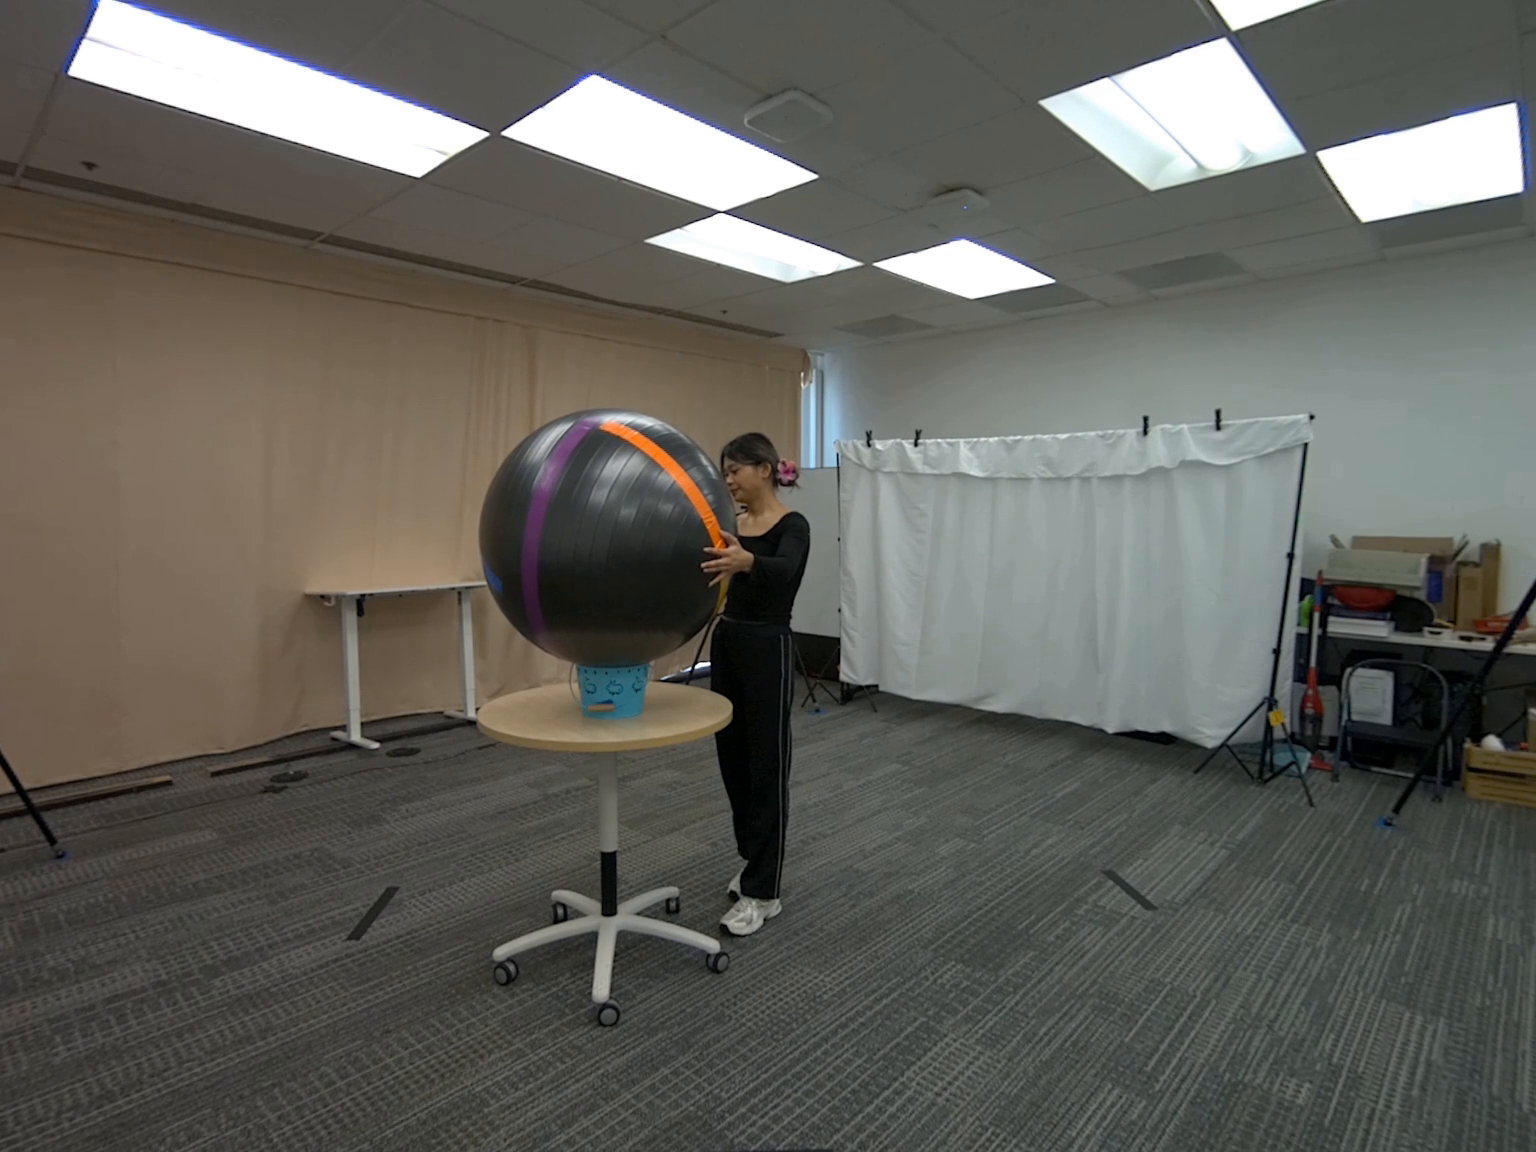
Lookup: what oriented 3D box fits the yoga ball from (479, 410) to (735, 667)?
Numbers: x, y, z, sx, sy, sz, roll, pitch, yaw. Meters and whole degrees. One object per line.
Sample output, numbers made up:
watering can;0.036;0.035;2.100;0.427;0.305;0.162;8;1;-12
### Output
yoga ball;-0.469;-0.102;2.479;0.757;0.756;0.760;0;4;-2
